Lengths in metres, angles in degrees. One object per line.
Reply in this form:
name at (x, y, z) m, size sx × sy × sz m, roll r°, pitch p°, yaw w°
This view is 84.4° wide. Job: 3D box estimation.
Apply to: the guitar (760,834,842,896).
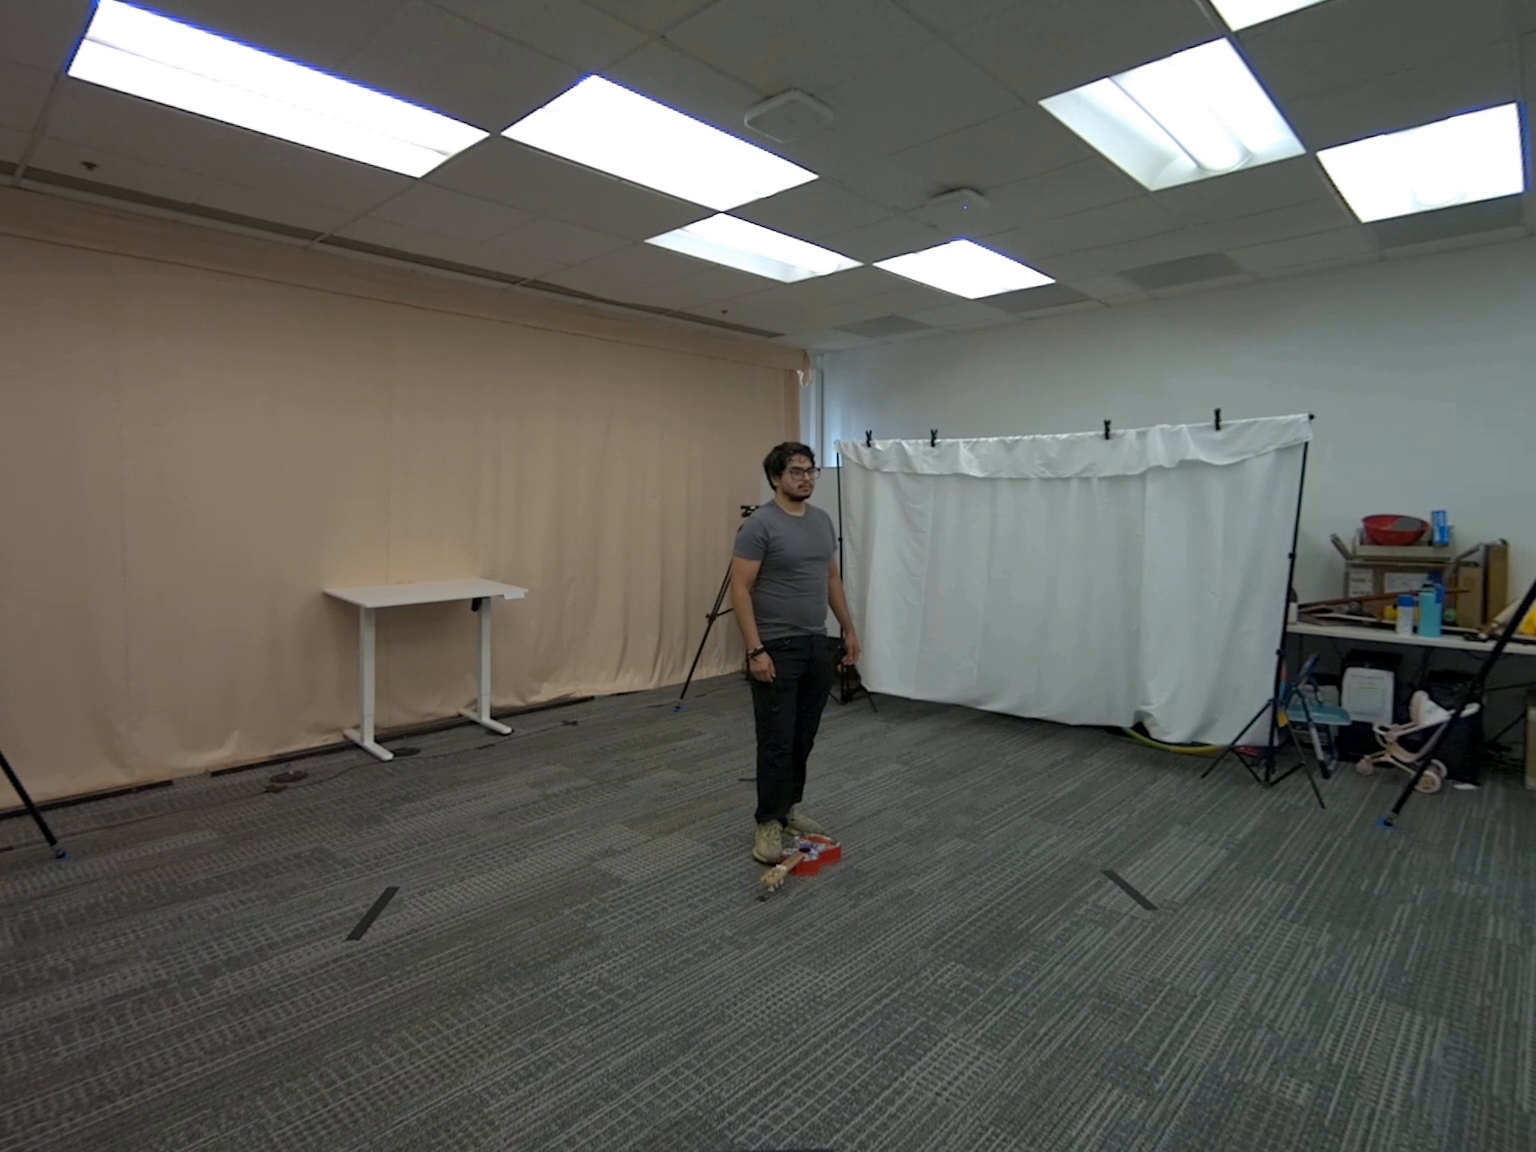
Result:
guitar at (0.083, 1.085, 3.211) m, size 0.199 × 0.070 × 0.483 m, roll 4°, pitch 6°, yaw 38°
